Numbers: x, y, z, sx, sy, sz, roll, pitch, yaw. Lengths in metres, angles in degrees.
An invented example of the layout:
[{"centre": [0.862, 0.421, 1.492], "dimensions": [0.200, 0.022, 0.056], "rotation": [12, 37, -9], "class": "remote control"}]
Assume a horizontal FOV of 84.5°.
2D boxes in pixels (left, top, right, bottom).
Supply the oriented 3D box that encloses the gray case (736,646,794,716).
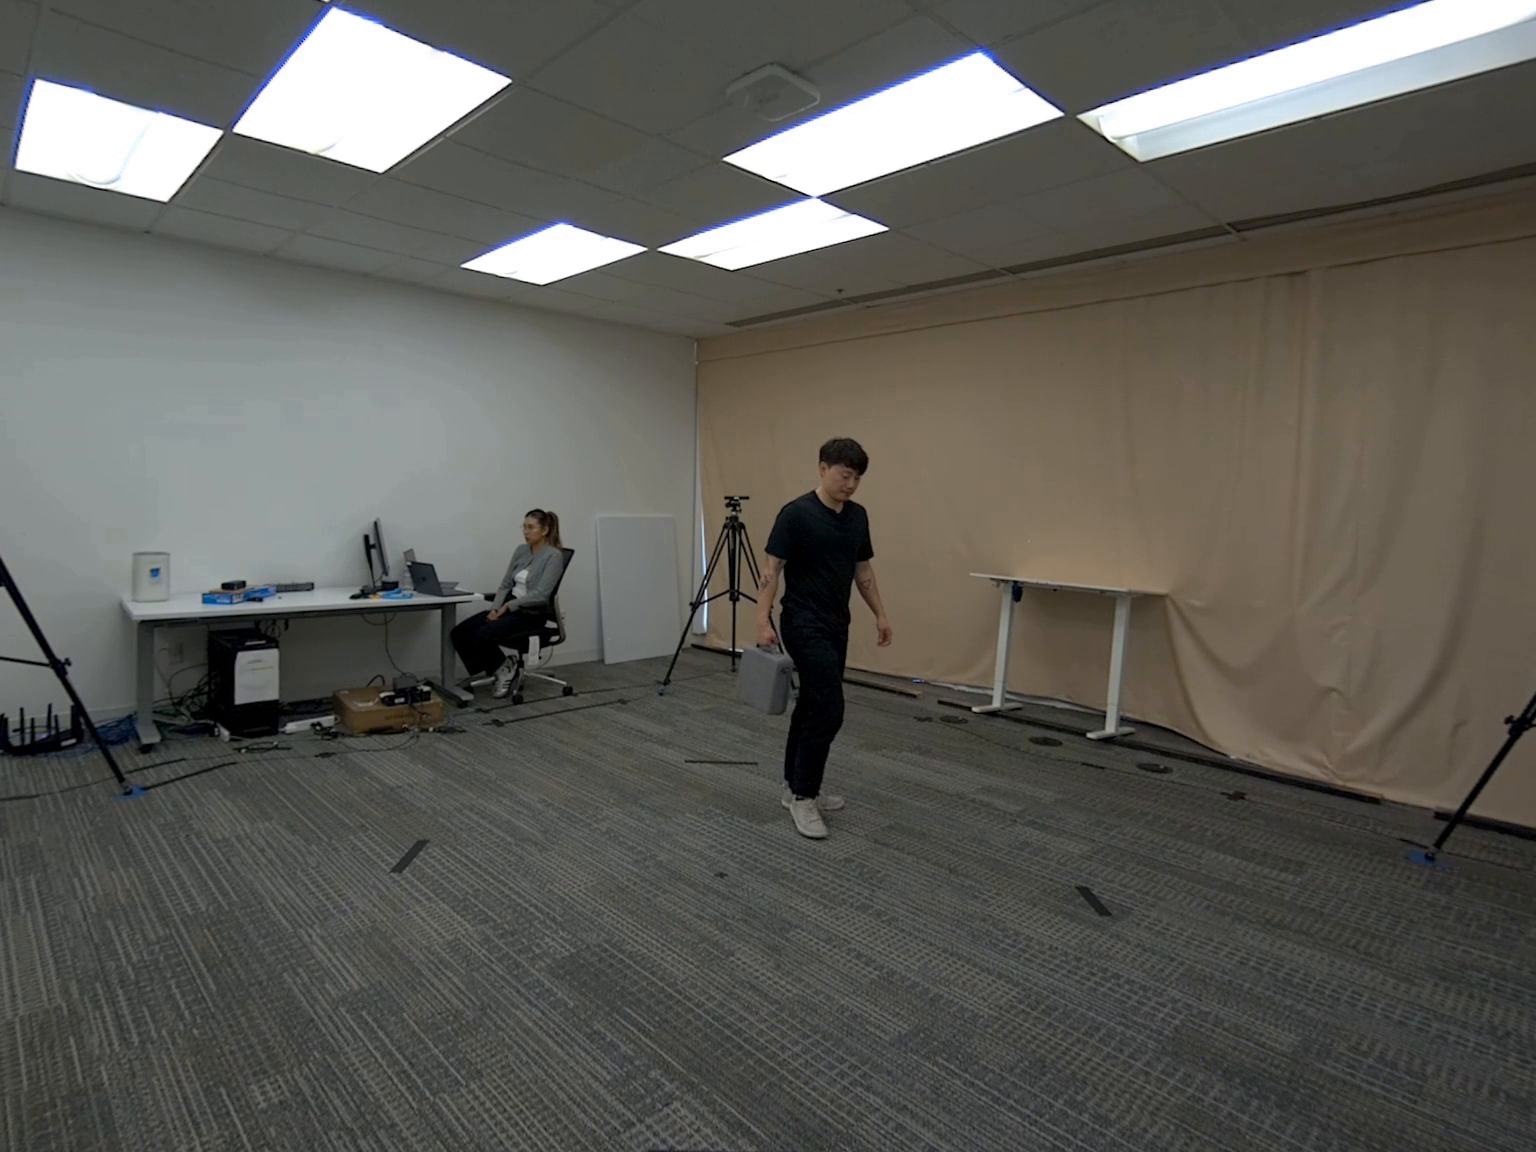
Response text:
[{"centre": [-0.019, 0.442, 3.617], "dimensions": [0.102, 0.259, 0.264], "rotation": [2, 8, -38], "class": "gray case"}]
